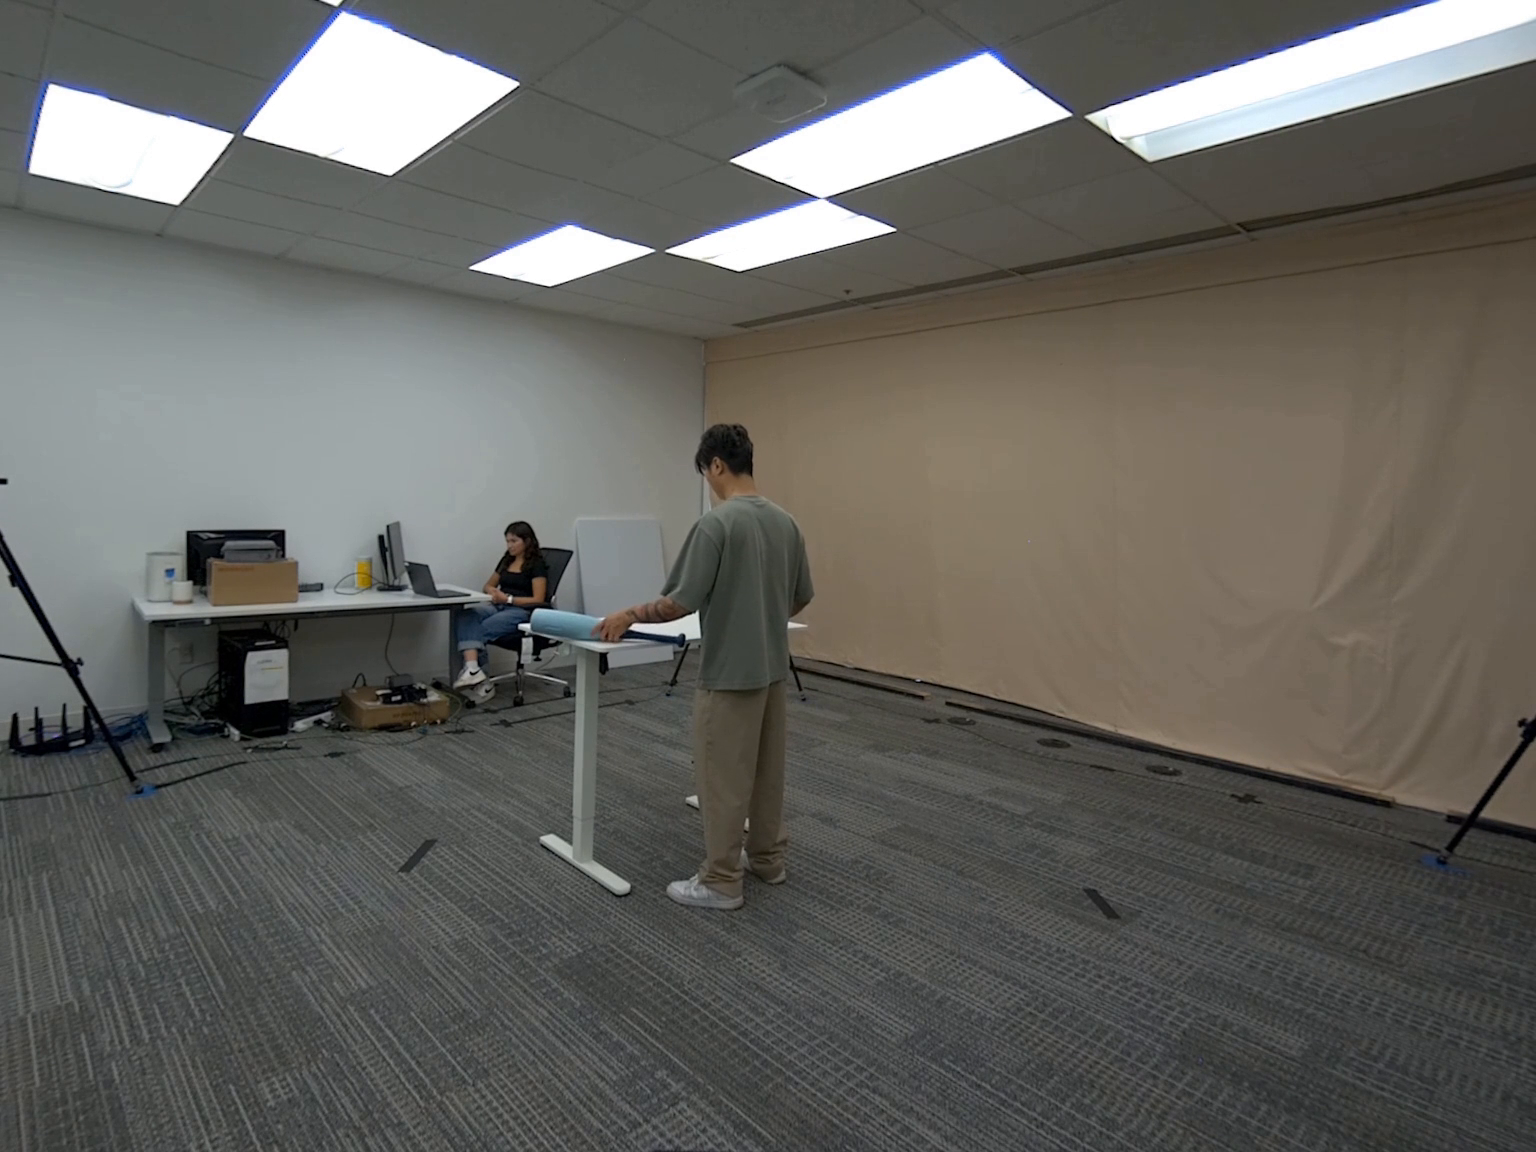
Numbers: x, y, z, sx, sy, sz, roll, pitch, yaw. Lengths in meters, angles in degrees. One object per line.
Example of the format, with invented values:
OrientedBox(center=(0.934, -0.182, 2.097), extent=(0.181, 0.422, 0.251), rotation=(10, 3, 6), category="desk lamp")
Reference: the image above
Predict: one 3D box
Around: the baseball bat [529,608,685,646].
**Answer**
OrientedBox(center=(-0.564, 0.195, 2.953), extent=(0.543, 0.089, 0.089), rotation=(8, 4, 0), category="baseball bat")
